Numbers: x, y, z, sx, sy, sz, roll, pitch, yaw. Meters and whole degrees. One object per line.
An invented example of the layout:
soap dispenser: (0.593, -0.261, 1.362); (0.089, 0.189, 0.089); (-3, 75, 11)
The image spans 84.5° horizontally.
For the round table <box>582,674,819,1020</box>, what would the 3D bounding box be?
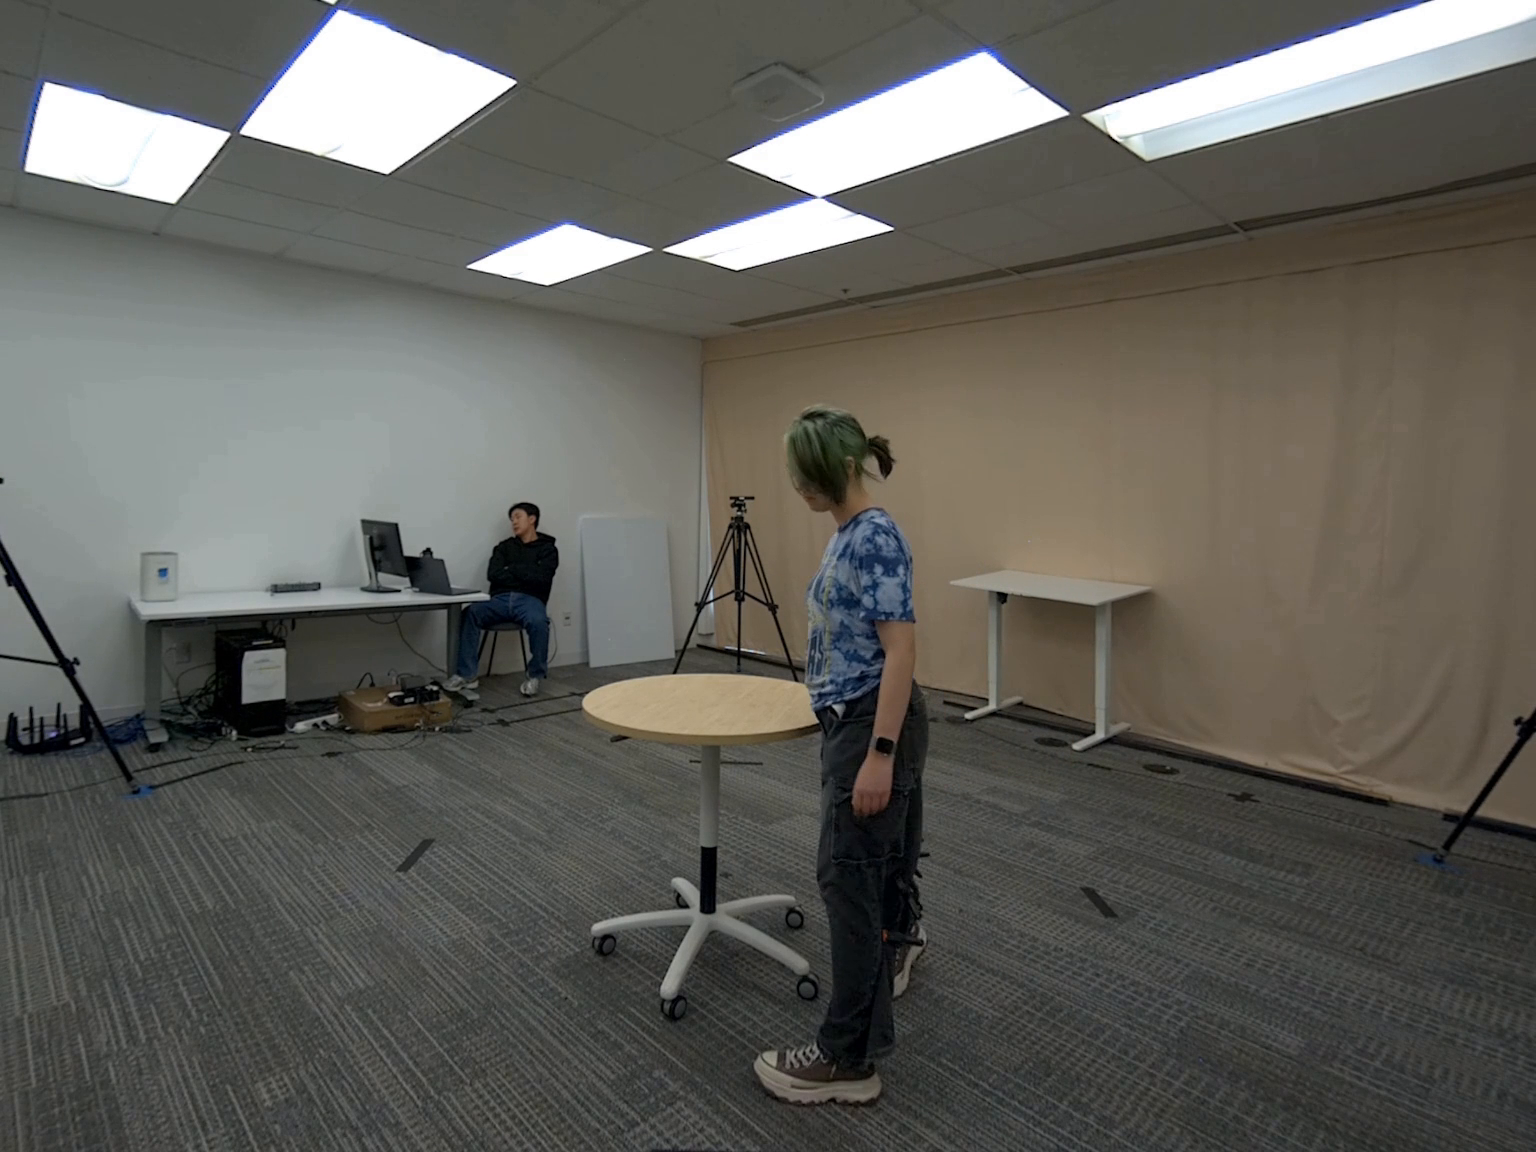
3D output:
round table: (-0.178, 0.765, 2.544); (0.763, 0.792, 0.766); (1, 4, -1)
